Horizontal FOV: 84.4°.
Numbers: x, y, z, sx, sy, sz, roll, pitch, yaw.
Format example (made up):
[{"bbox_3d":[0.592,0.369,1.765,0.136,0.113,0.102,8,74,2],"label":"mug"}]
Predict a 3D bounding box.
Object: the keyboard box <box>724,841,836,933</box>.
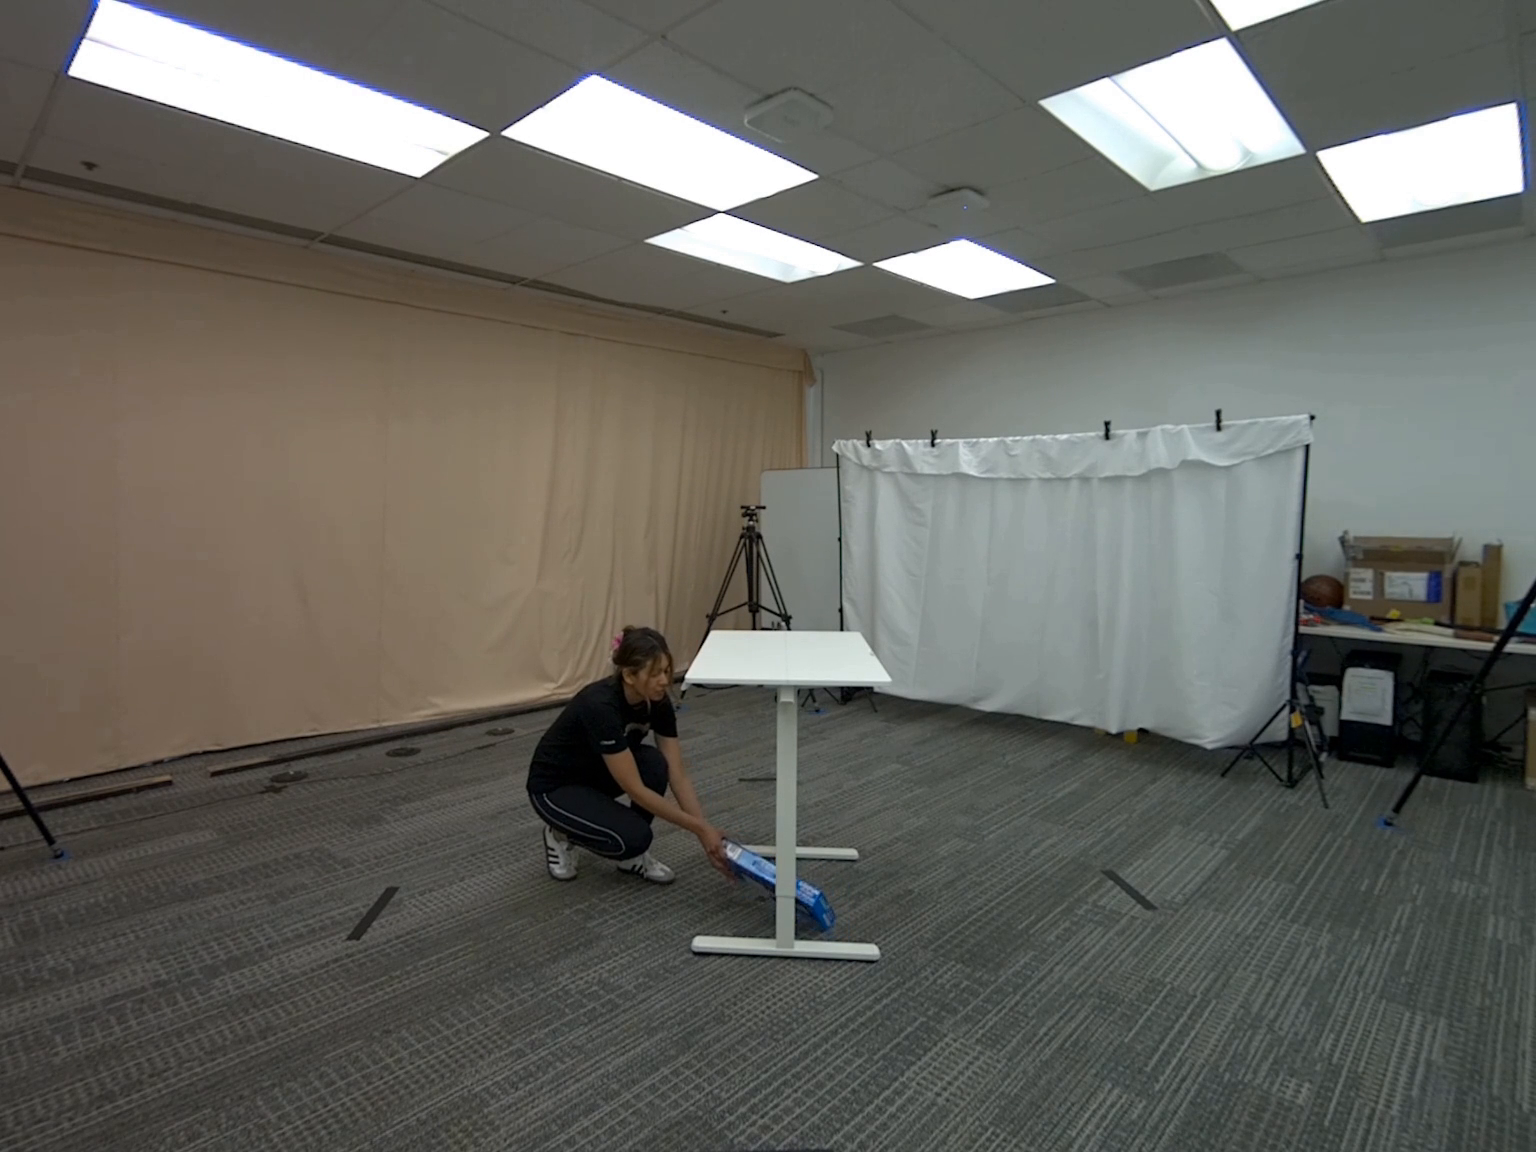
[{"bbox_3d":[0.029,1.045,2.860,0.452,0.171,0.059,14,53,40],"label":"keyboard box"}]
